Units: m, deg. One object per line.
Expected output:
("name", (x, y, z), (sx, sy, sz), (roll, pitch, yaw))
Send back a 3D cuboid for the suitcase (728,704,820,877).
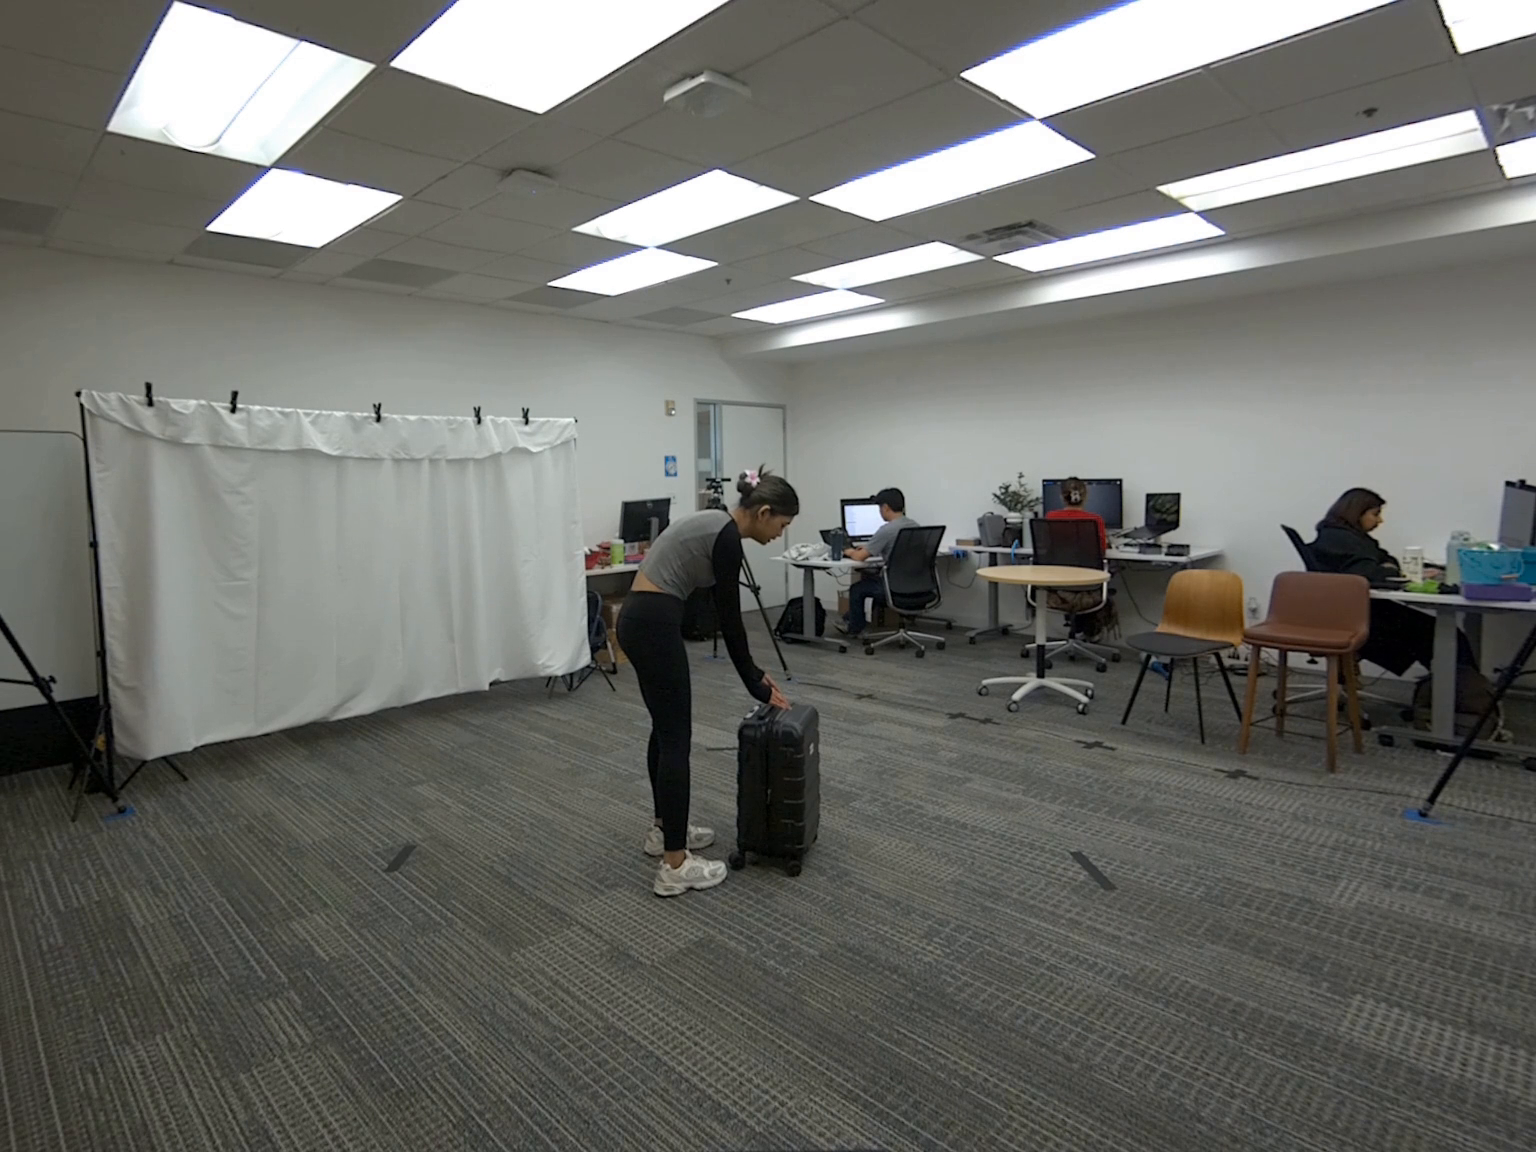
("suitcase", (0.044, 0.758, 3.169), (0.252, 0.547, 0.370), (2, 4, 16))
